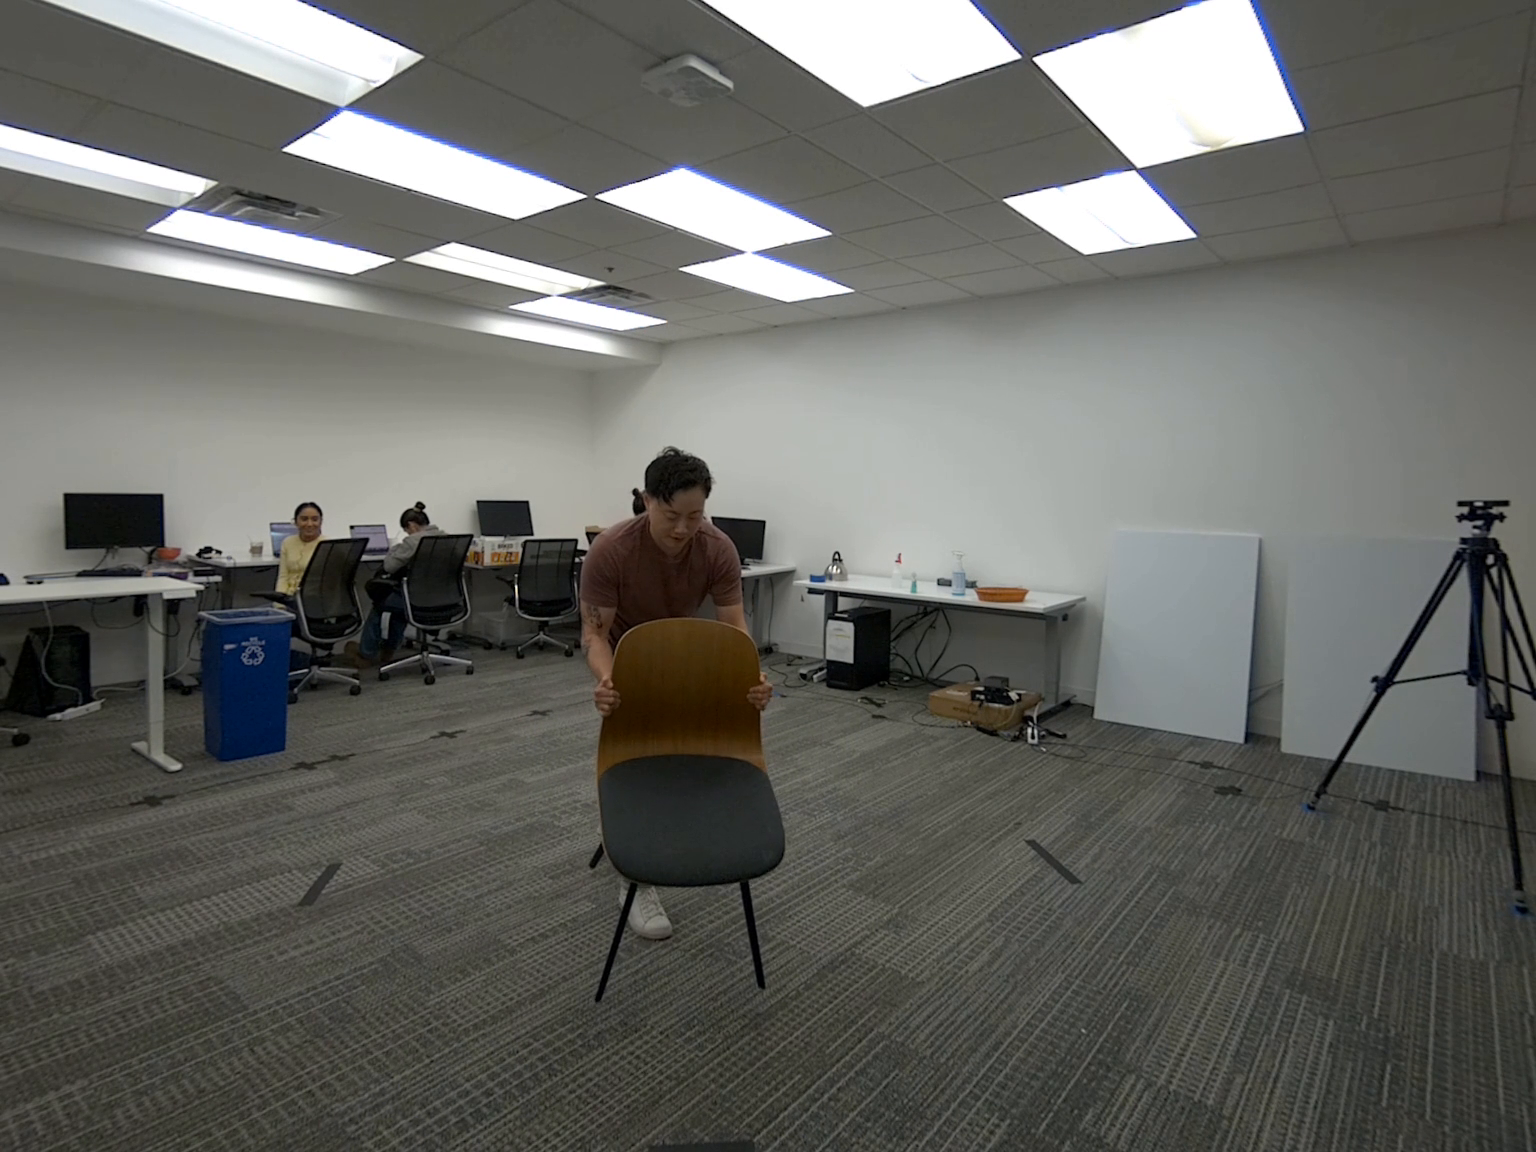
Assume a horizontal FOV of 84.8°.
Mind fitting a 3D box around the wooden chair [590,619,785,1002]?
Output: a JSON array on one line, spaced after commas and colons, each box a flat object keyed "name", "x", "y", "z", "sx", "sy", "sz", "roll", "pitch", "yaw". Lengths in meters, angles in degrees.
[{"name": "wooden chair", "x": -0.222, "y": 0.626, "z": 2.249, "sx": 0.472, "sy": 0.862, "sz": 0.539, "roll": 2, "pitch": 23, "yaw": -13}]
